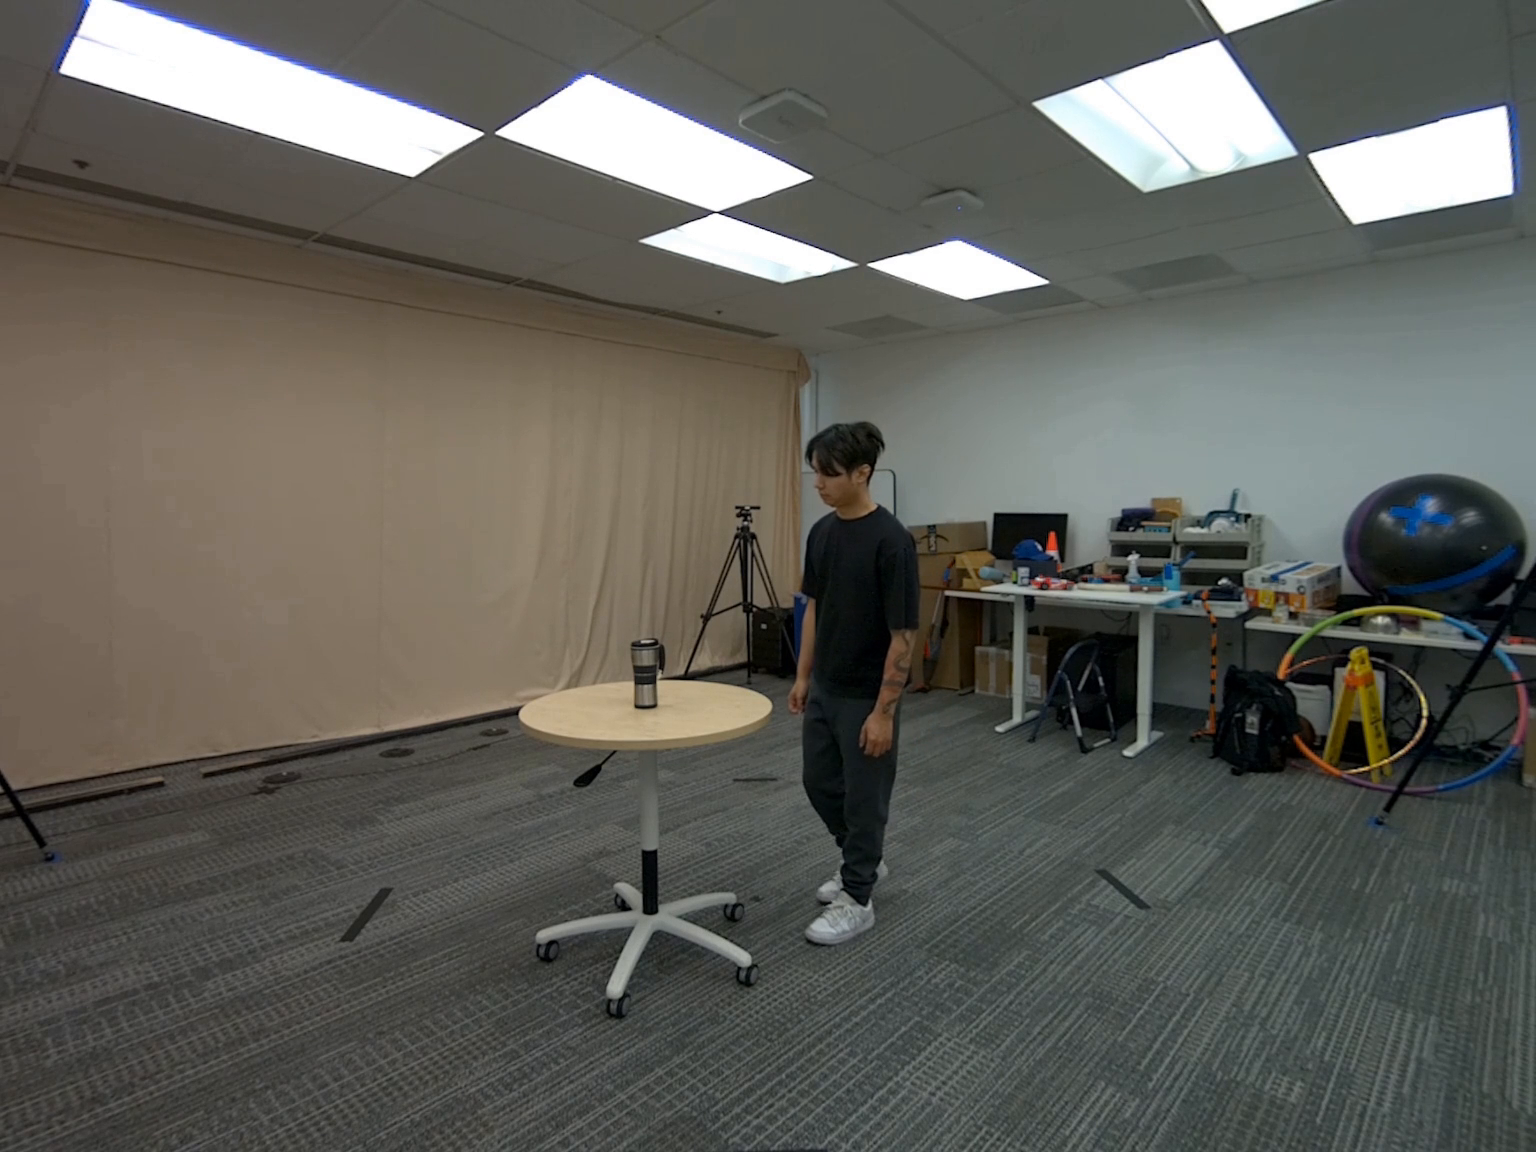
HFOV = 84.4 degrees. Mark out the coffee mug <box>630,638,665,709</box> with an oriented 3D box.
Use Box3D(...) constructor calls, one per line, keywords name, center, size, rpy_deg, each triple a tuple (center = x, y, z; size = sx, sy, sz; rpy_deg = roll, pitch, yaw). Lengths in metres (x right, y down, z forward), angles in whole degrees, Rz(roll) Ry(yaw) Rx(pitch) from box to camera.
Box3D(name="coffee mug", center=(-0.355, 0.297, 2.573), size=(0.119, 0.203, 0.090), rpy_deg=(-5, -1, -32))
